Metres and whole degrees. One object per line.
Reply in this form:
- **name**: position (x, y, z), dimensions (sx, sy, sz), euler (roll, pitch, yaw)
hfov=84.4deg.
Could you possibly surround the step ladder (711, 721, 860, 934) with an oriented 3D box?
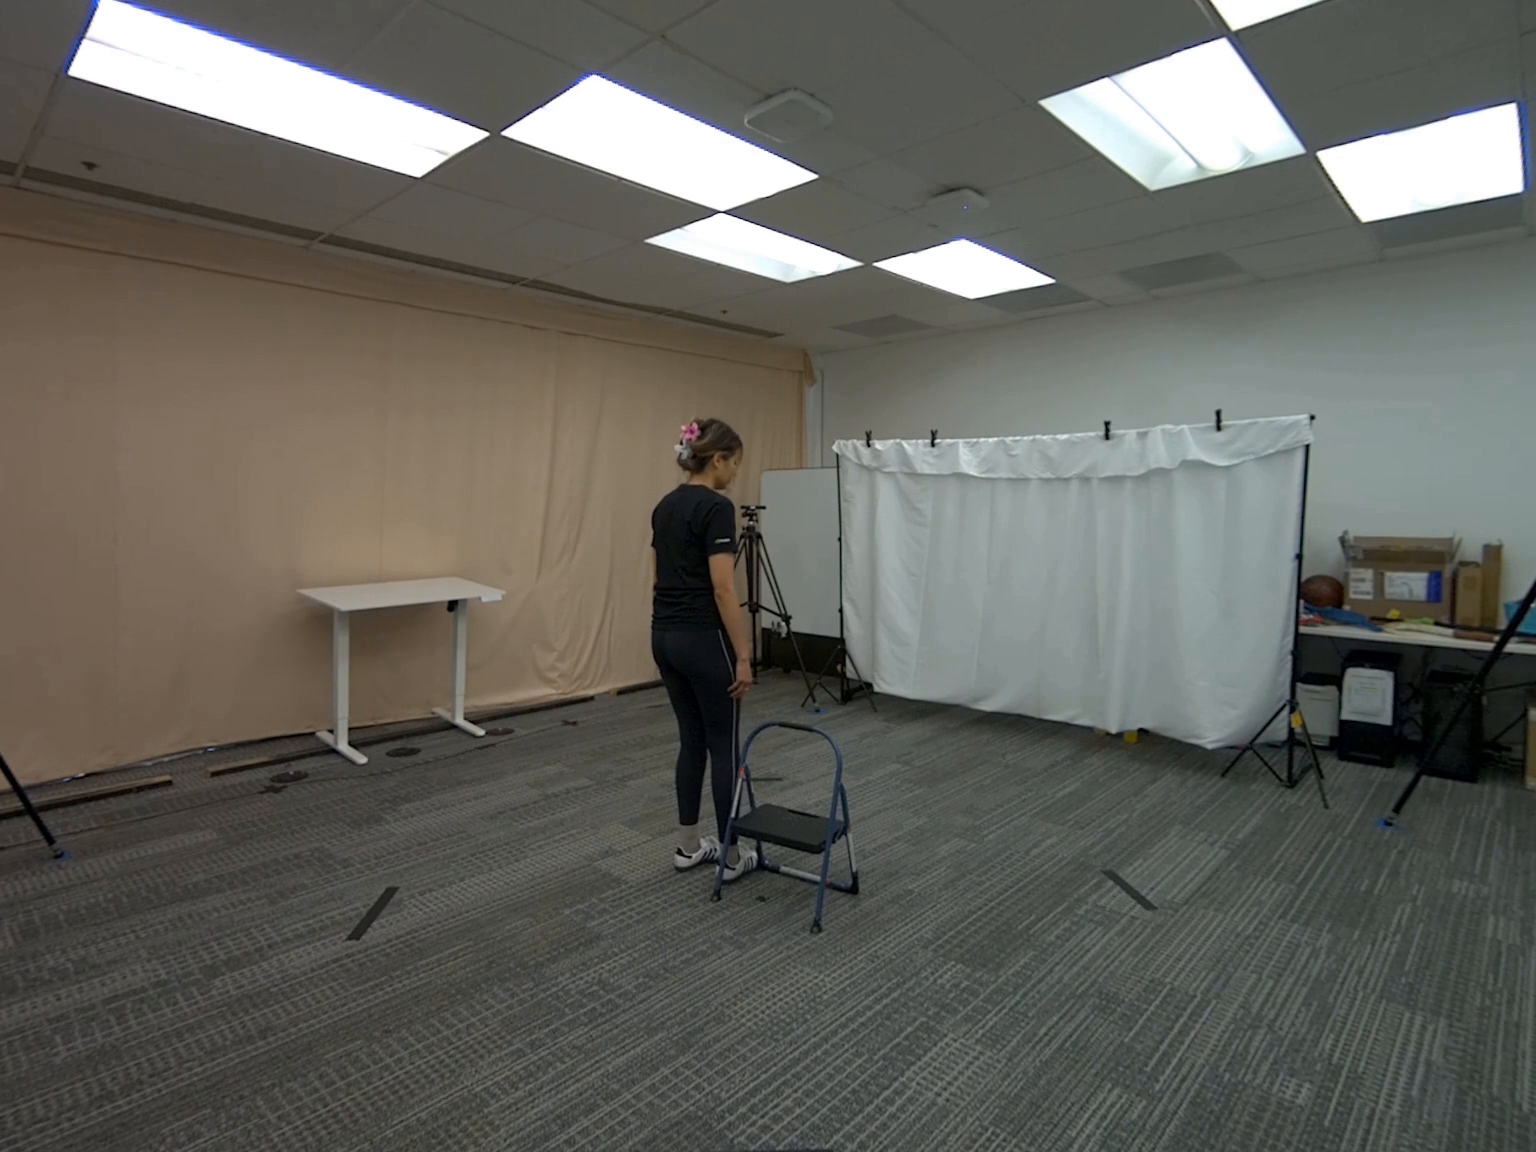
- **step ladder**: position (0.075, 0.840, 2.980), dimensions (0.443, 0.604, 0.340), euler (3, 5, 32)
